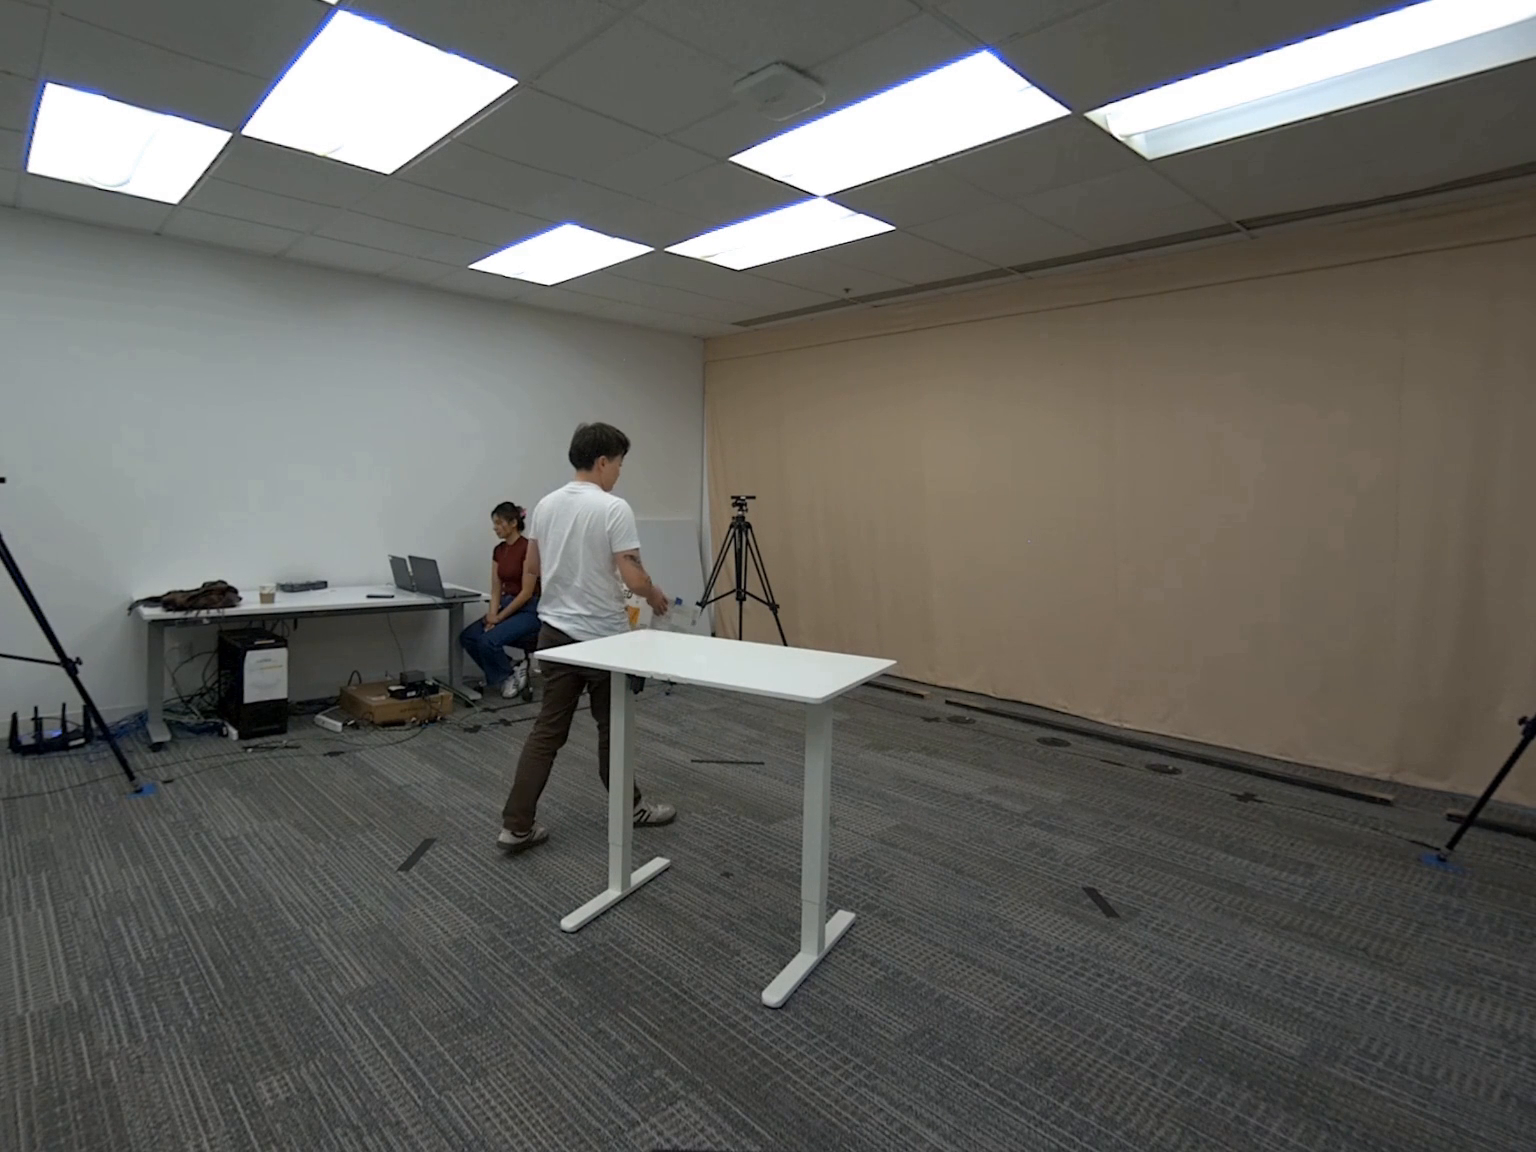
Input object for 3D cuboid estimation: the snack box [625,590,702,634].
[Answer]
[{"bbox_3d":[-0.580,0.170,3.784,0.415,0.207,0.330,8,-10,33],"label":"snack box"}]
